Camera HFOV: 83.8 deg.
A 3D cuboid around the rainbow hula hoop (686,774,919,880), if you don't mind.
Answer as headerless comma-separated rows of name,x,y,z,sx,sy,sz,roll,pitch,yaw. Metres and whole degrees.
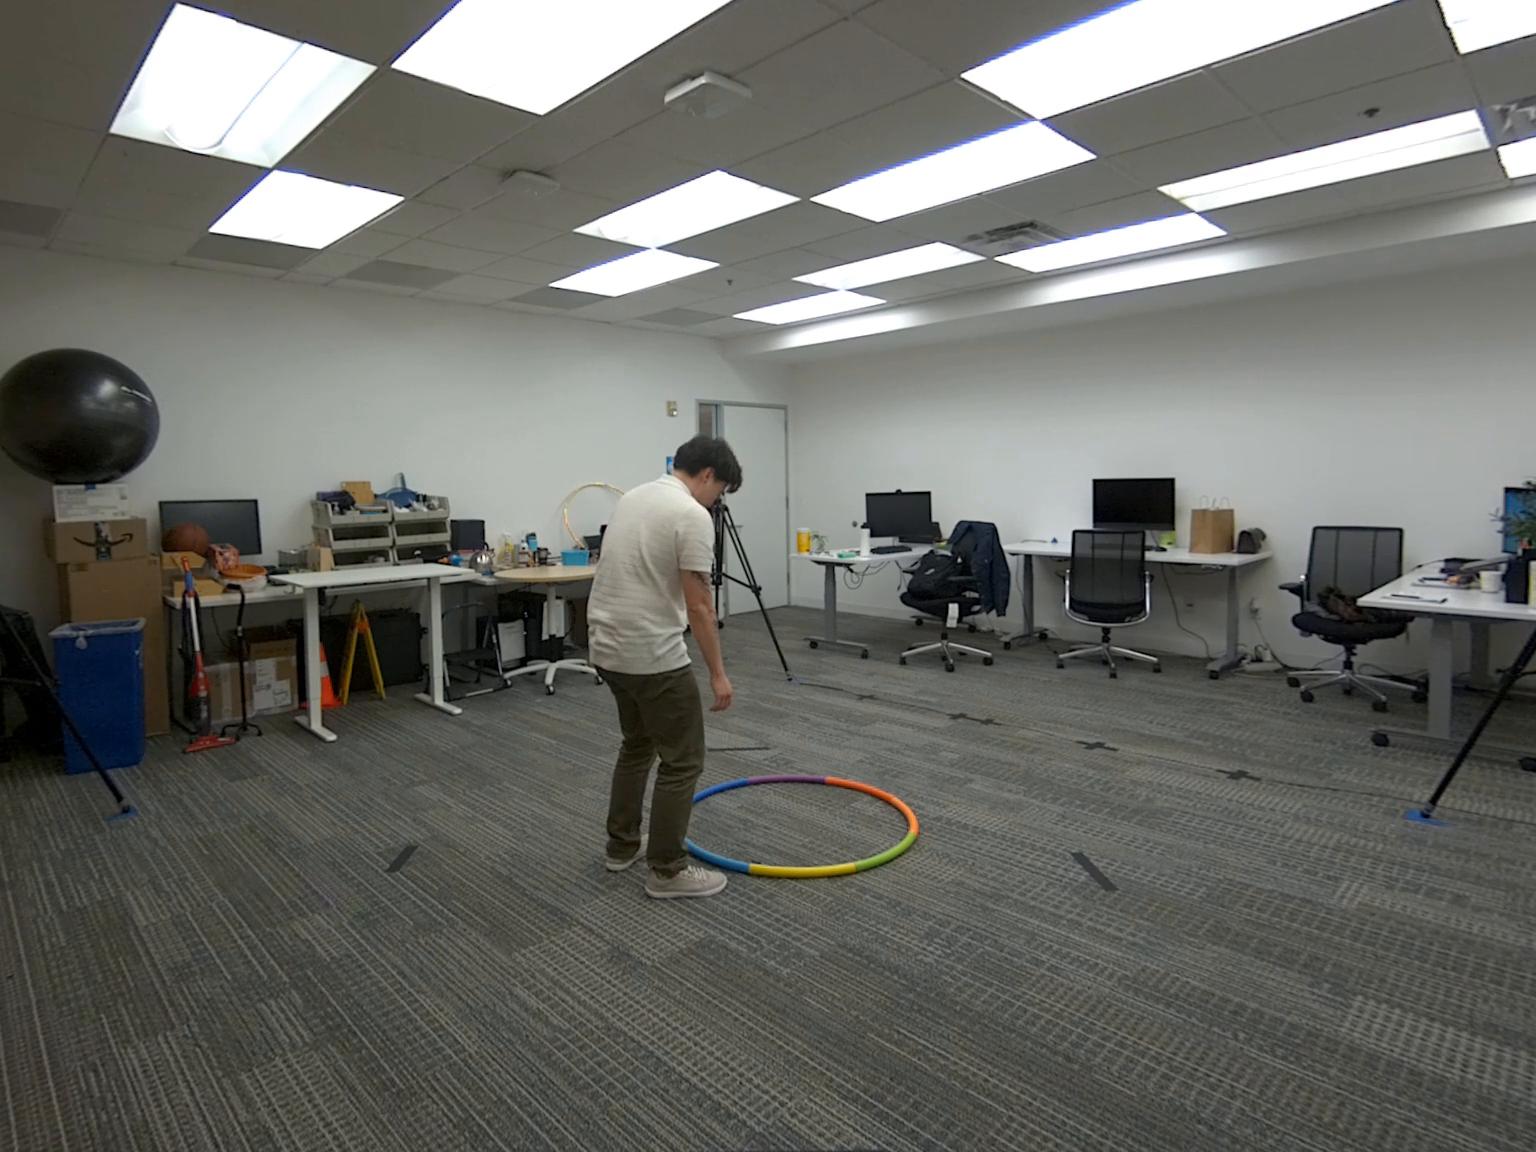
rainbow hula hoop,0.100,0.971,3.454,0.978,0.035,0.984,-1,7,-2
